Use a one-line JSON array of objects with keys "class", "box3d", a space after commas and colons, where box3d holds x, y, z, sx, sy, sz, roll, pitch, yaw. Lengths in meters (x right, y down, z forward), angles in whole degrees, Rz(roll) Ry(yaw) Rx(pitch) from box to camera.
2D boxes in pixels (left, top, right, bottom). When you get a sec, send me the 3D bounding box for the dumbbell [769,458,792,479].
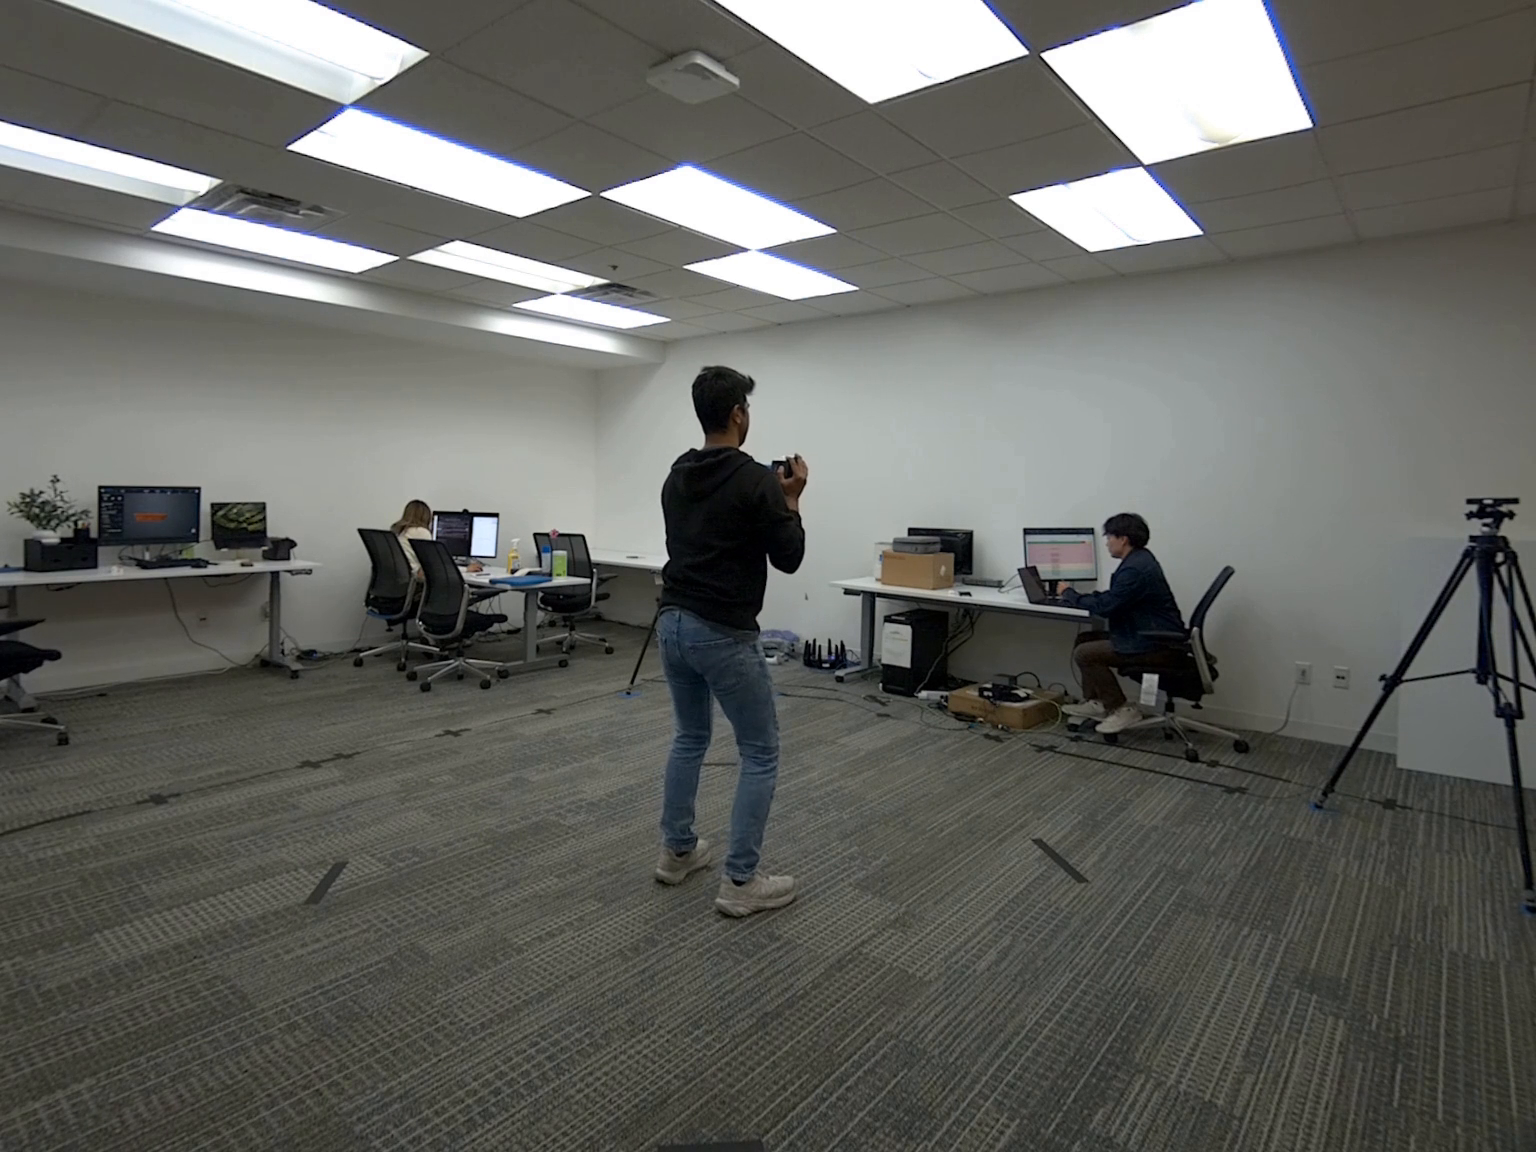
[{"class": "dumbbell", "box3d": [-0.024, -0.367, 3.081, 0.304, 0.123, 0.105, 8, -3, 43]}]
